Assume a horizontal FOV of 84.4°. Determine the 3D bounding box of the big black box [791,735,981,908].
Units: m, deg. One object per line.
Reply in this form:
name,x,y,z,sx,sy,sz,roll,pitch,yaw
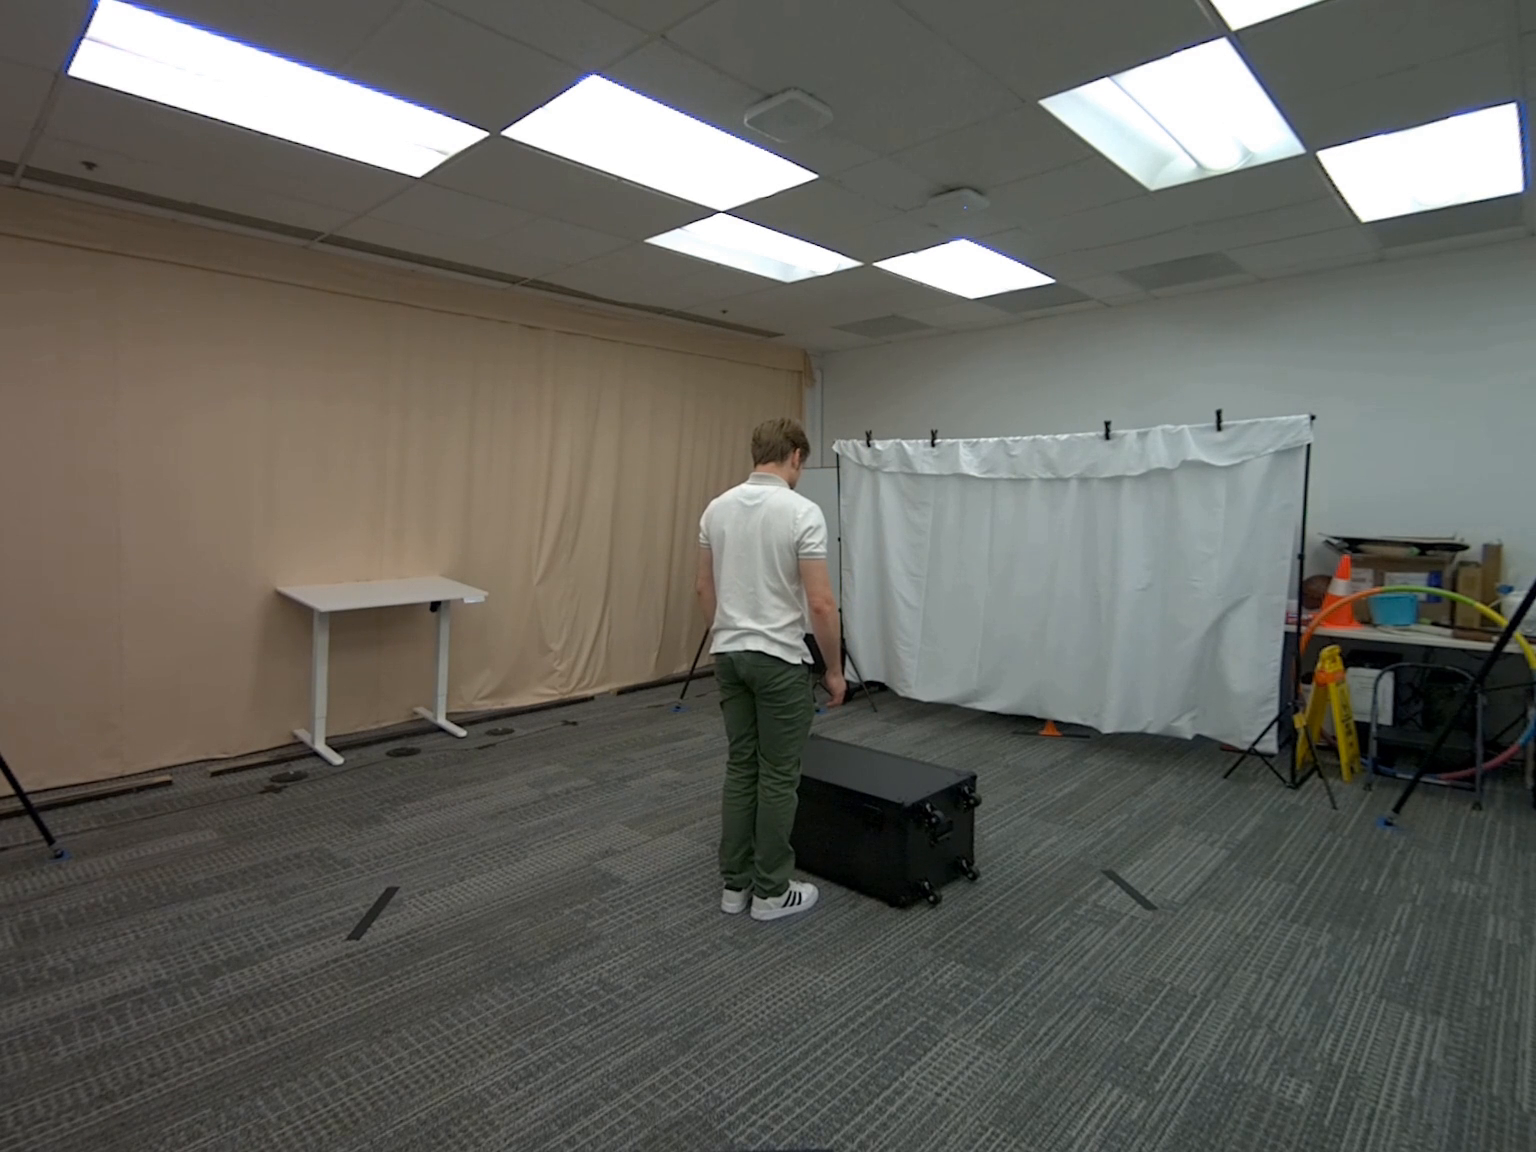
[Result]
big black box,0.363,0.922,3.276,0.898,0.384,0.507,5,5,43
